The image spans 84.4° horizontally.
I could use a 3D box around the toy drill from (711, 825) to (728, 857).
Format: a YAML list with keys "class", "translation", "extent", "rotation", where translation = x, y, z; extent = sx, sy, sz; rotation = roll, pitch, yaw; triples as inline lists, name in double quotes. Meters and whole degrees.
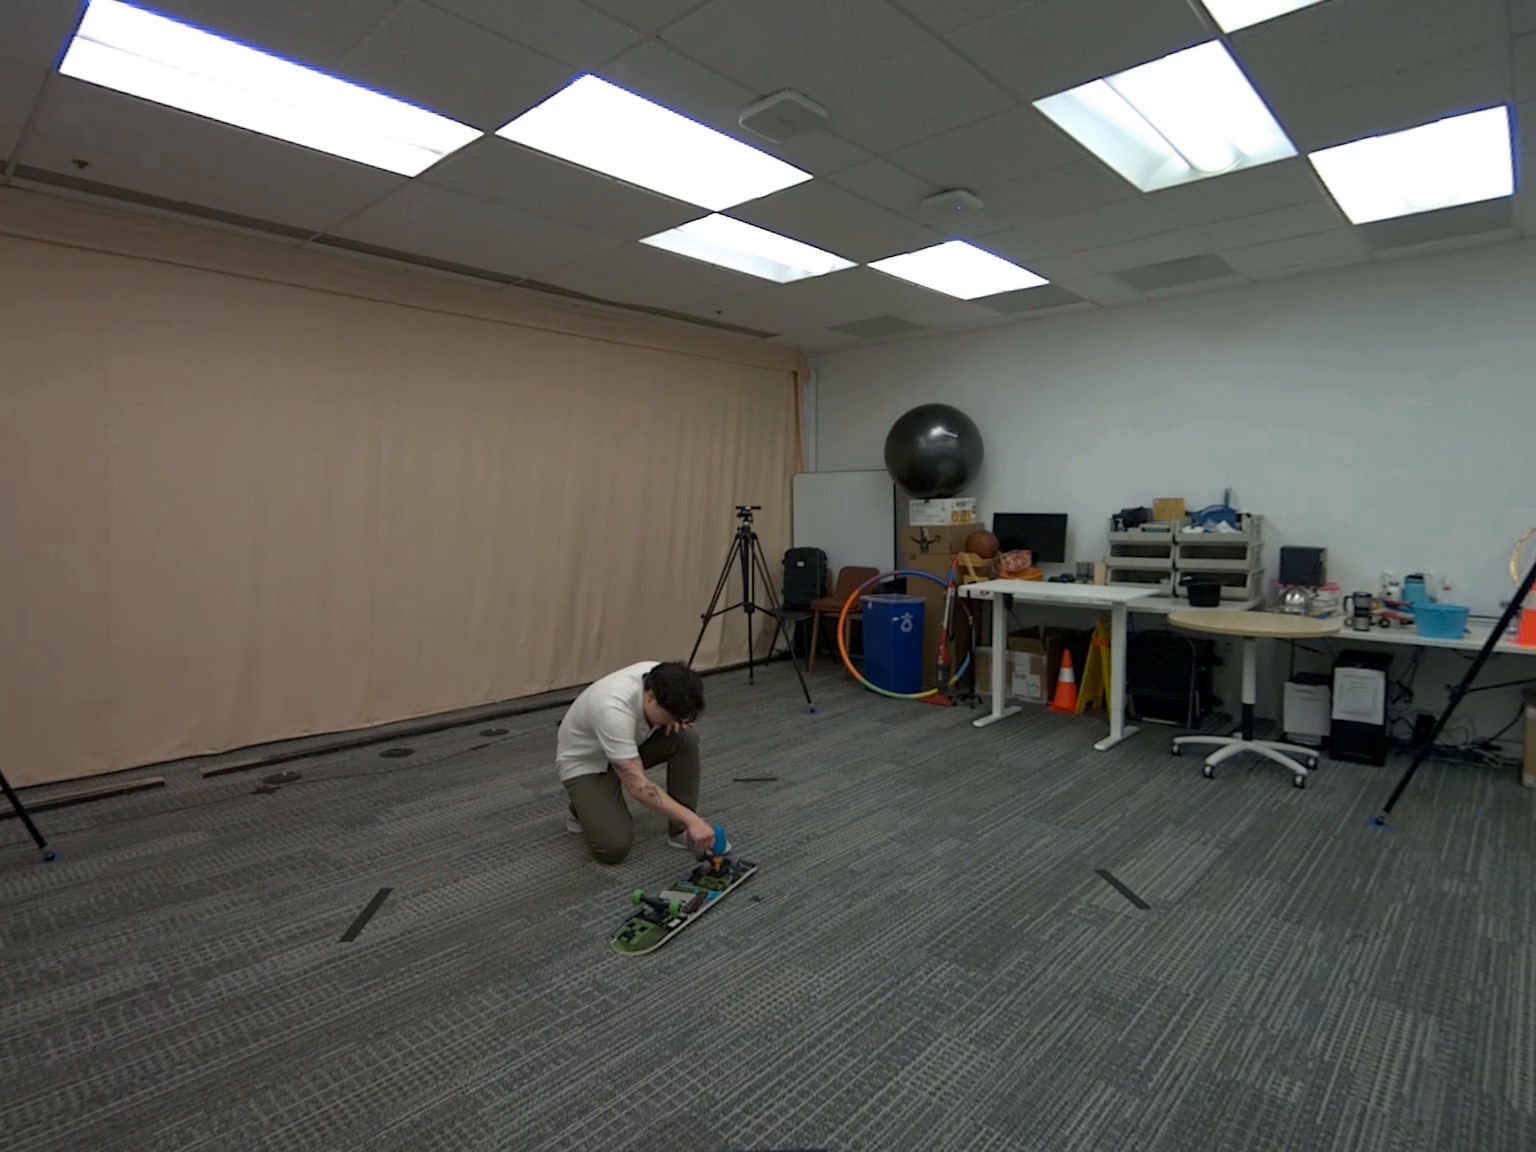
- class: "toy drill"
  translation: [-0.223, 0.993, 3.069]
  extent: [0.145, 0.169, 0.061]
  rotation: [3, 6, -3]
